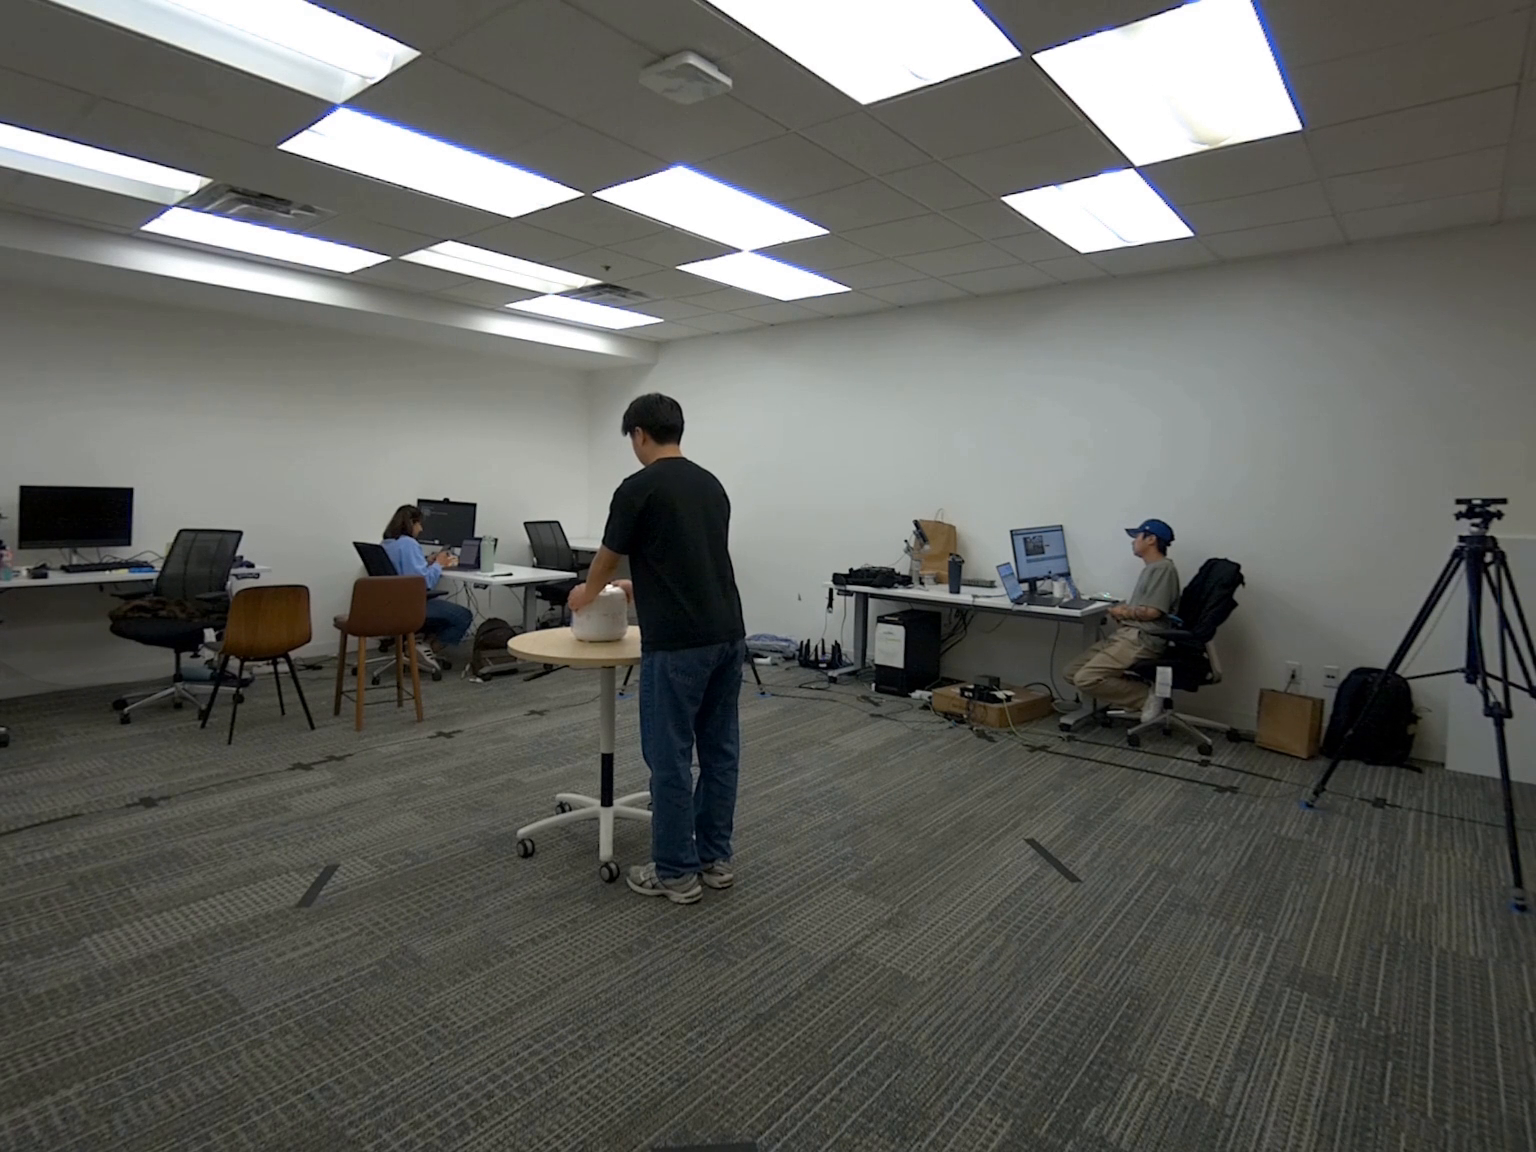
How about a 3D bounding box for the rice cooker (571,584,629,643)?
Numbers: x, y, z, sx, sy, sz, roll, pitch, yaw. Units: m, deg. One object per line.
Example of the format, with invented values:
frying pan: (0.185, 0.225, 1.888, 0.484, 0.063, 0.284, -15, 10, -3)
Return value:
rice cooker: (-0.672, 0.128, 3.344, 0.213, 0.232, 0.226, -1, 5, -20)
